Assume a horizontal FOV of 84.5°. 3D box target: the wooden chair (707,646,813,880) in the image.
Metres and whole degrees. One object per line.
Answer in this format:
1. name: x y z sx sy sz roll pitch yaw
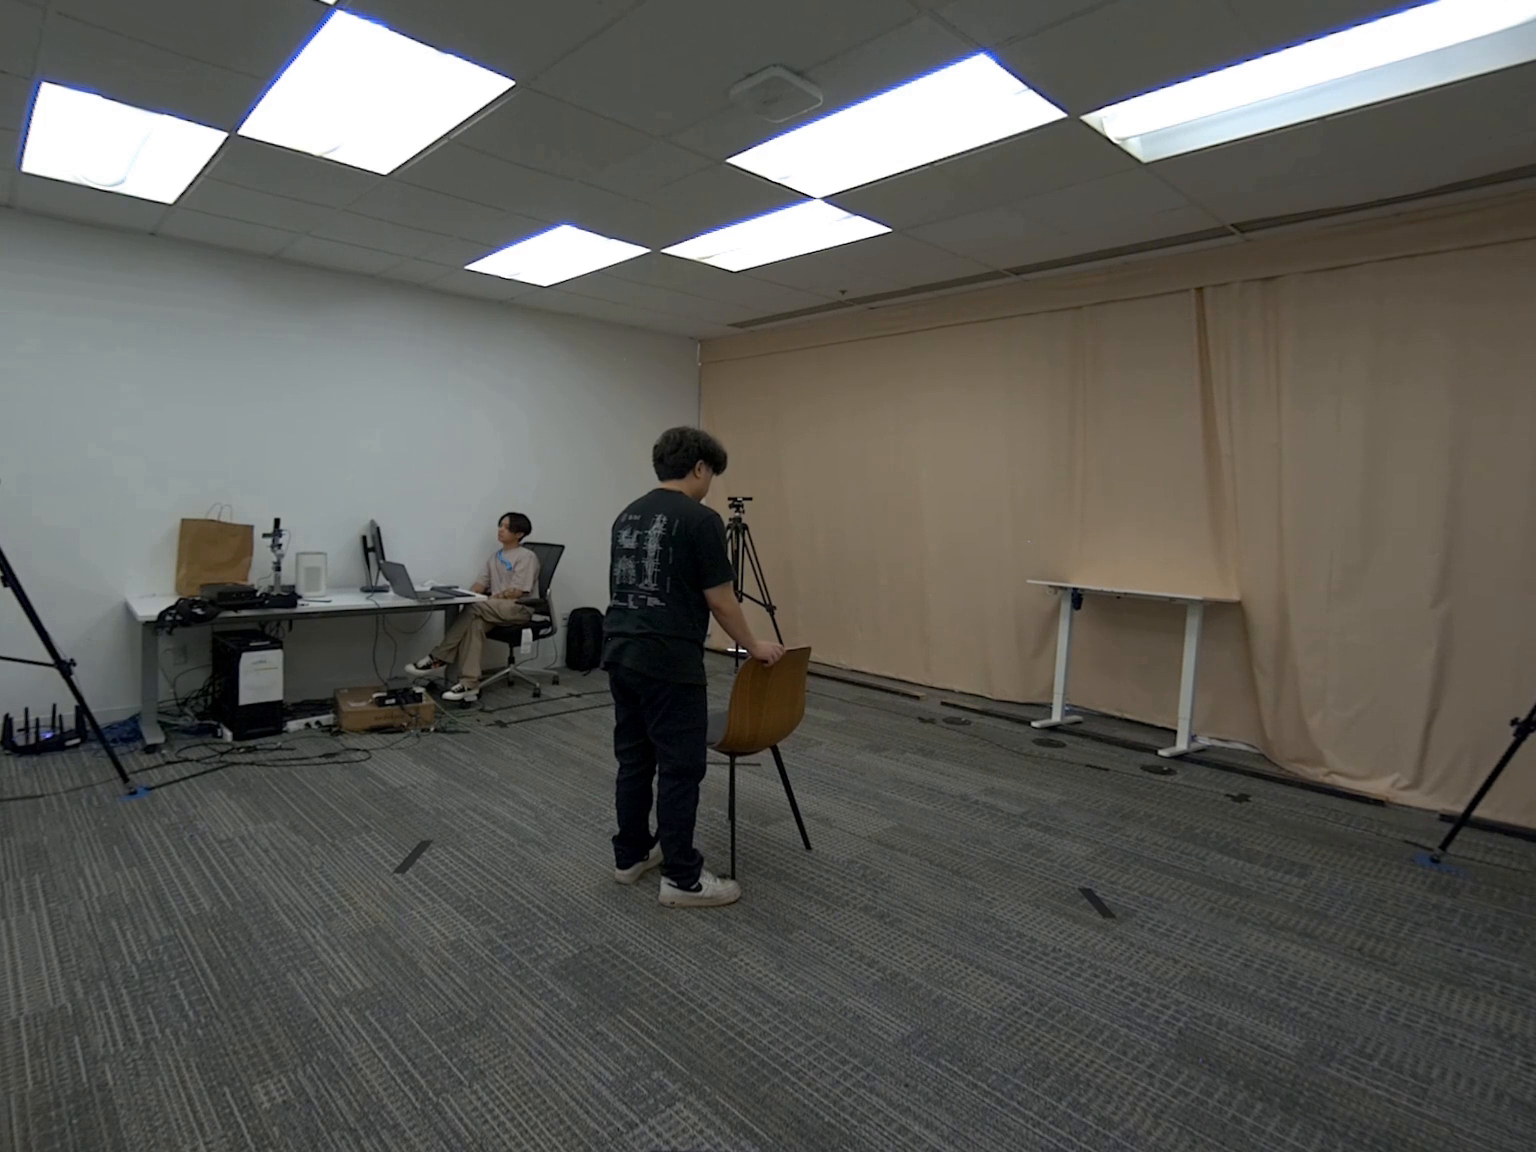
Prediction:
1. wooden chair: -0.143 0.660 3.331 0.537 0.873 0.467 11 10 43
